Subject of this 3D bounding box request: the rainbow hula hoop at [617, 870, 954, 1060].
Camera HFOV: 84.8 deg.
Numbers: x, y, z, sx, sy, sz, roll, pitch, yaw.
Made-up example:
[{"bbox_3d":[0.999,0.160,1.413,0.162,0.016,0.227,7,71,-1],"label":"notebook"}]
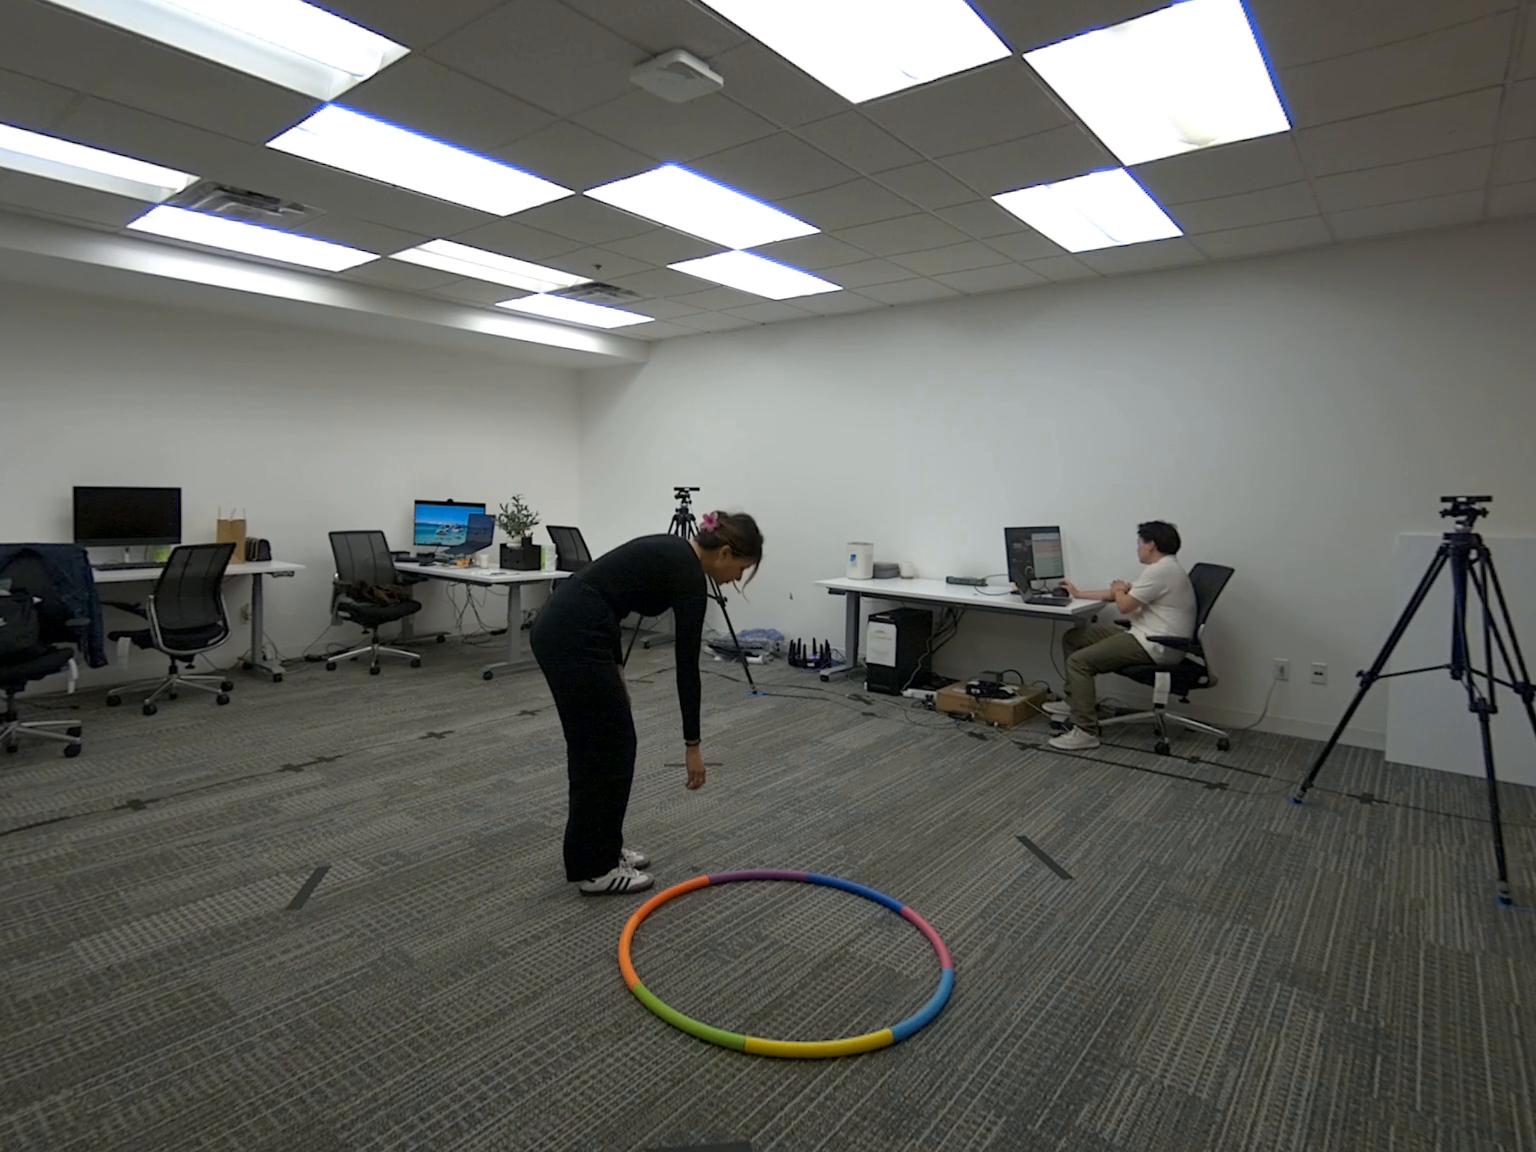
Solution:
[{"bbox_3d":[0.039,1.095,2.563,0.978,0.035,0.984,1,6,-2],"label":"rainbow hula hoop"}]
